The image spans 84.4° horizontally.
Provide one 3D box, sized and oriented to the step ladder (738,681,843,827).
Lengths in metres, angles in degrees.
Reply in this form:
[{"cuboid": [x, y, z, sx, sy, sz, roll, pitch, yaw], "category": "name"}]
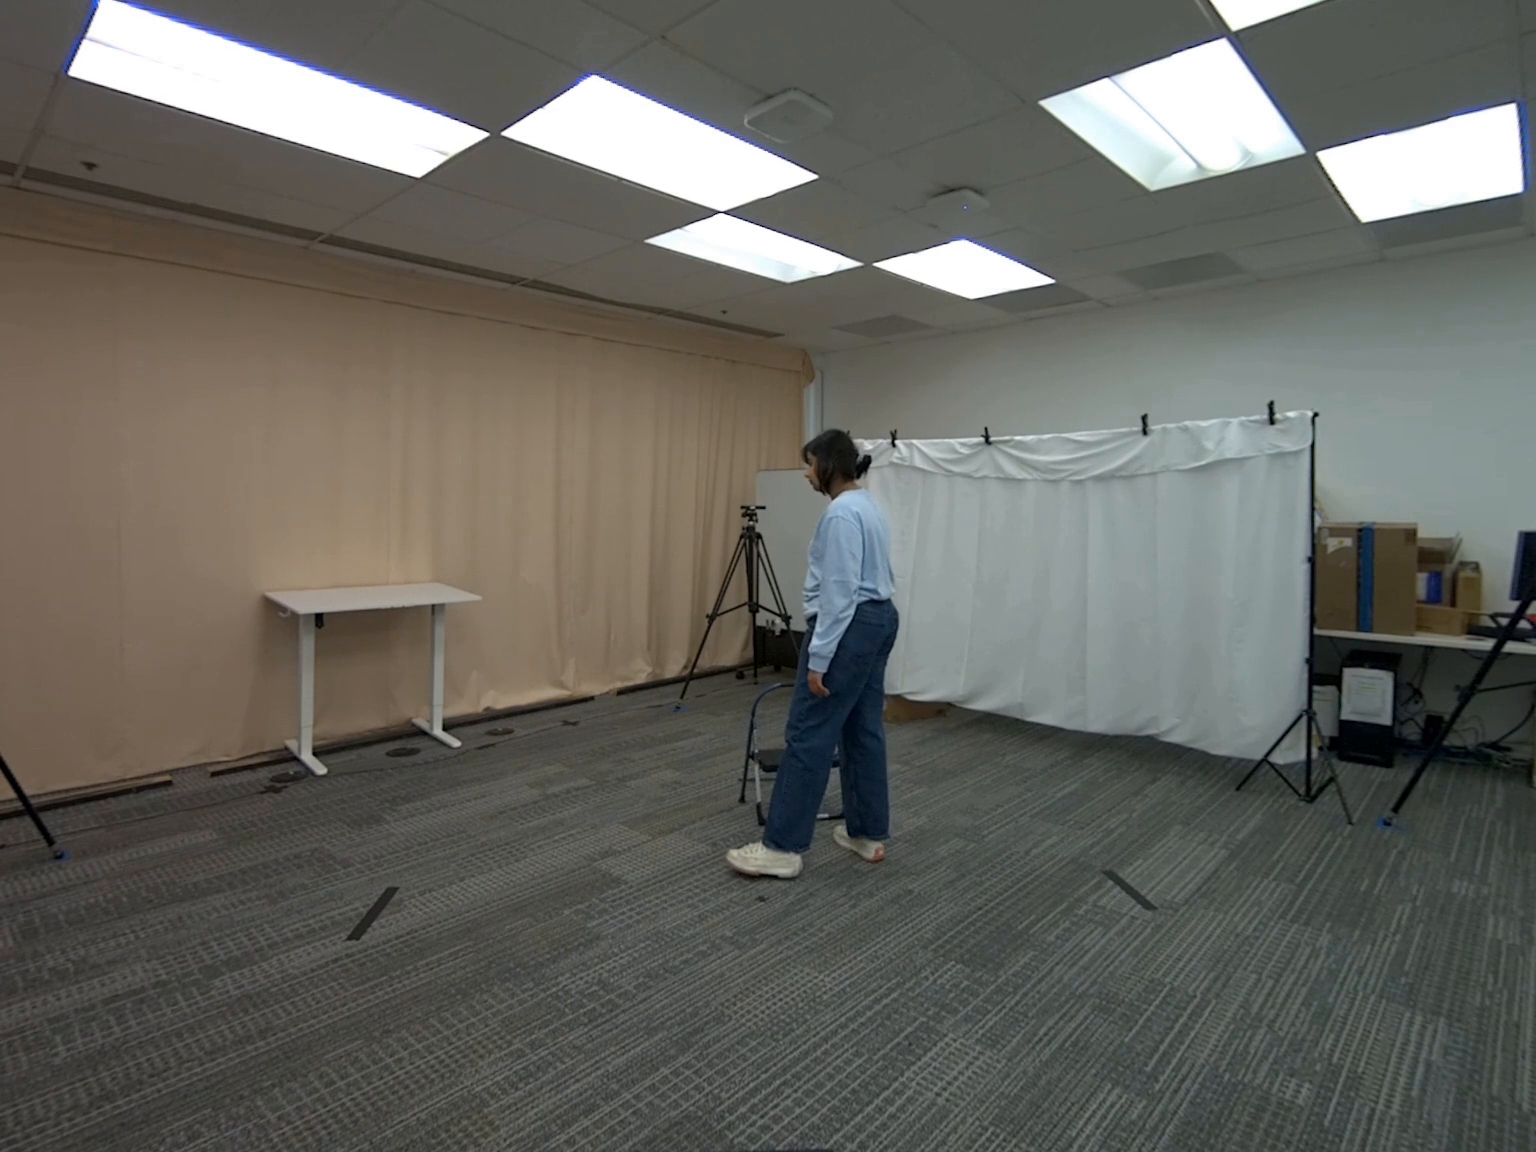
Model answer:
[{"cuboid": [0.111, 0.770, 3.852, 0.424, 0.605, 0.355, -1, 3, -15], "category": "step ladder"}]
